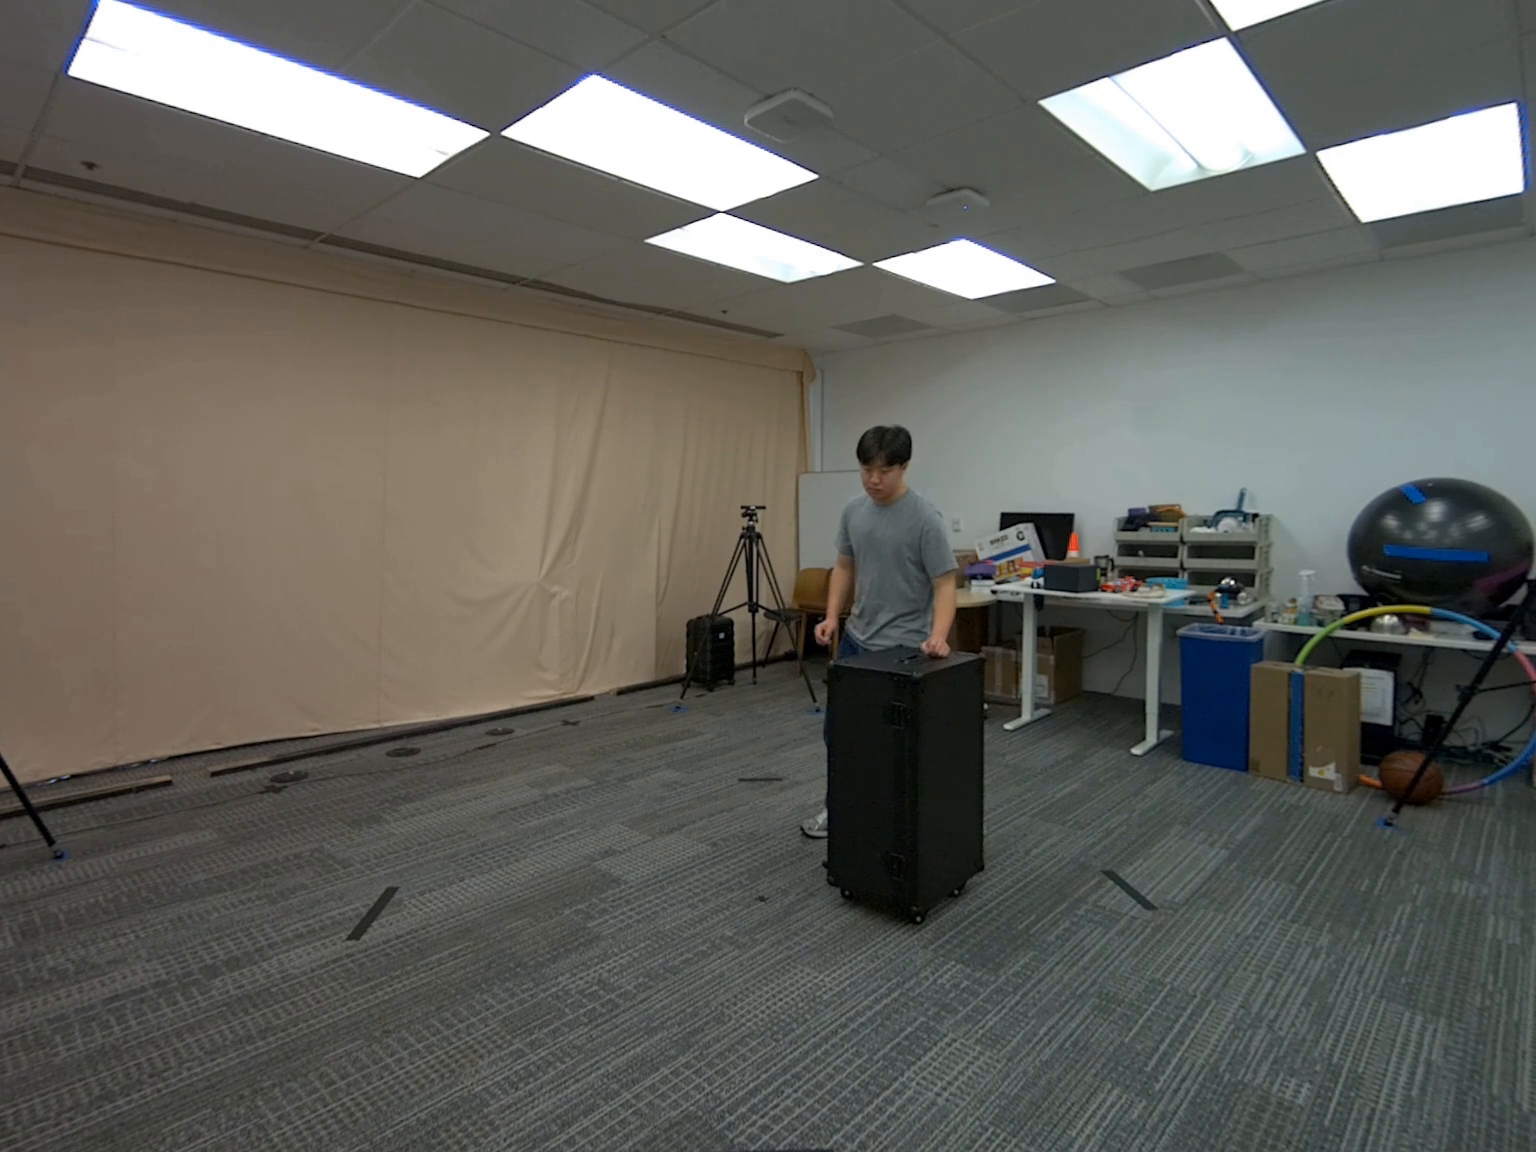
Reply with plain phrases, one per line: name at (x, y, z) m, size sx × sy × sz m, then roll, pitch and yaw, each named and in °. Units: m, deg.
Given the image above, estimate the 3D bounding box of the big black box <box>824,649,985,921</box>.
big black box at (0.487, 0.715, 2.983) m, size 0.409 × 0.860 × 0.505 m, roll 2°, pitch 4°, yaw 41°
